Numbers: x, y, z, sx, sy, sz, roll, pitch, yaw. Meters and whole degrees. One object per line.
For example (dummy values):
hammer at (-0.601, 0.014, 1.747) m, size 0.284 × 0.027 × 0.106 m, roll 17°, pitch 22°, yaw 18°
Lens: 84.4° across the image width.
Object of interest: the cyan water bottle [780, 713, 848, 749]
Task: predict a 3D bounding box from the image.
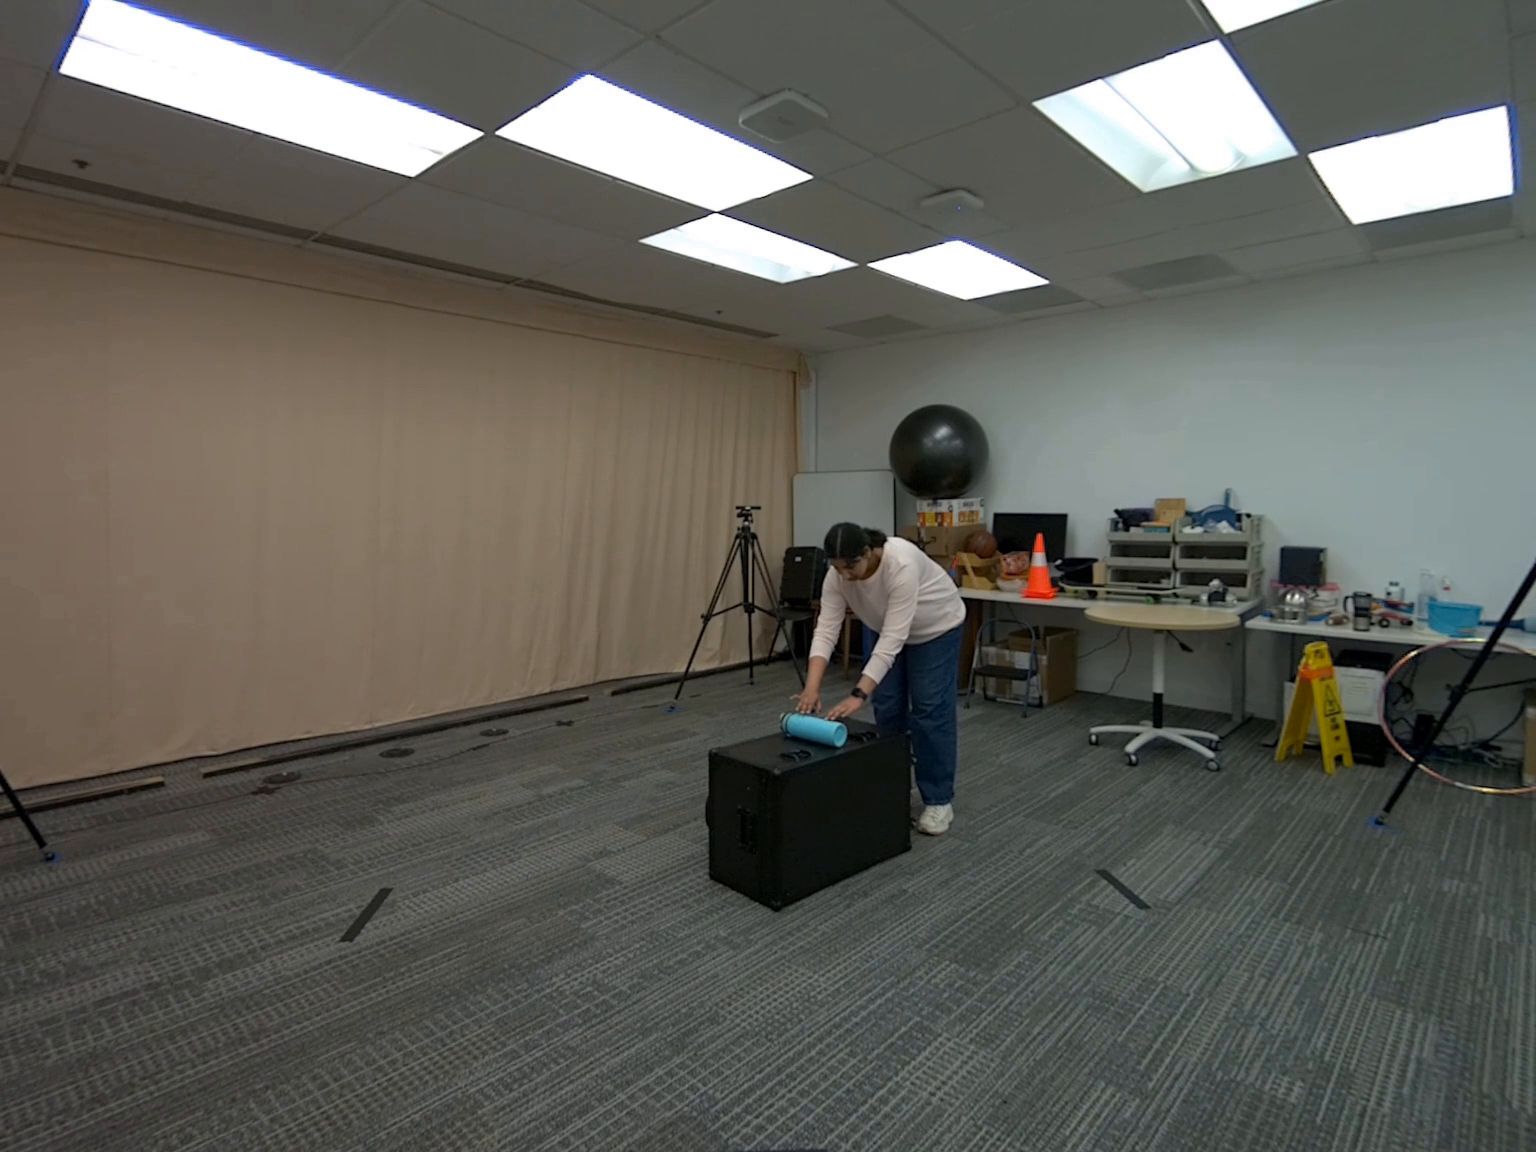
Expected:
cyan water bottle at (0.169, 0.586, 3.261) m, size 0.293 × 0.092 × 0.089 m, roll 4°, pitch 5°, yaw 42°
